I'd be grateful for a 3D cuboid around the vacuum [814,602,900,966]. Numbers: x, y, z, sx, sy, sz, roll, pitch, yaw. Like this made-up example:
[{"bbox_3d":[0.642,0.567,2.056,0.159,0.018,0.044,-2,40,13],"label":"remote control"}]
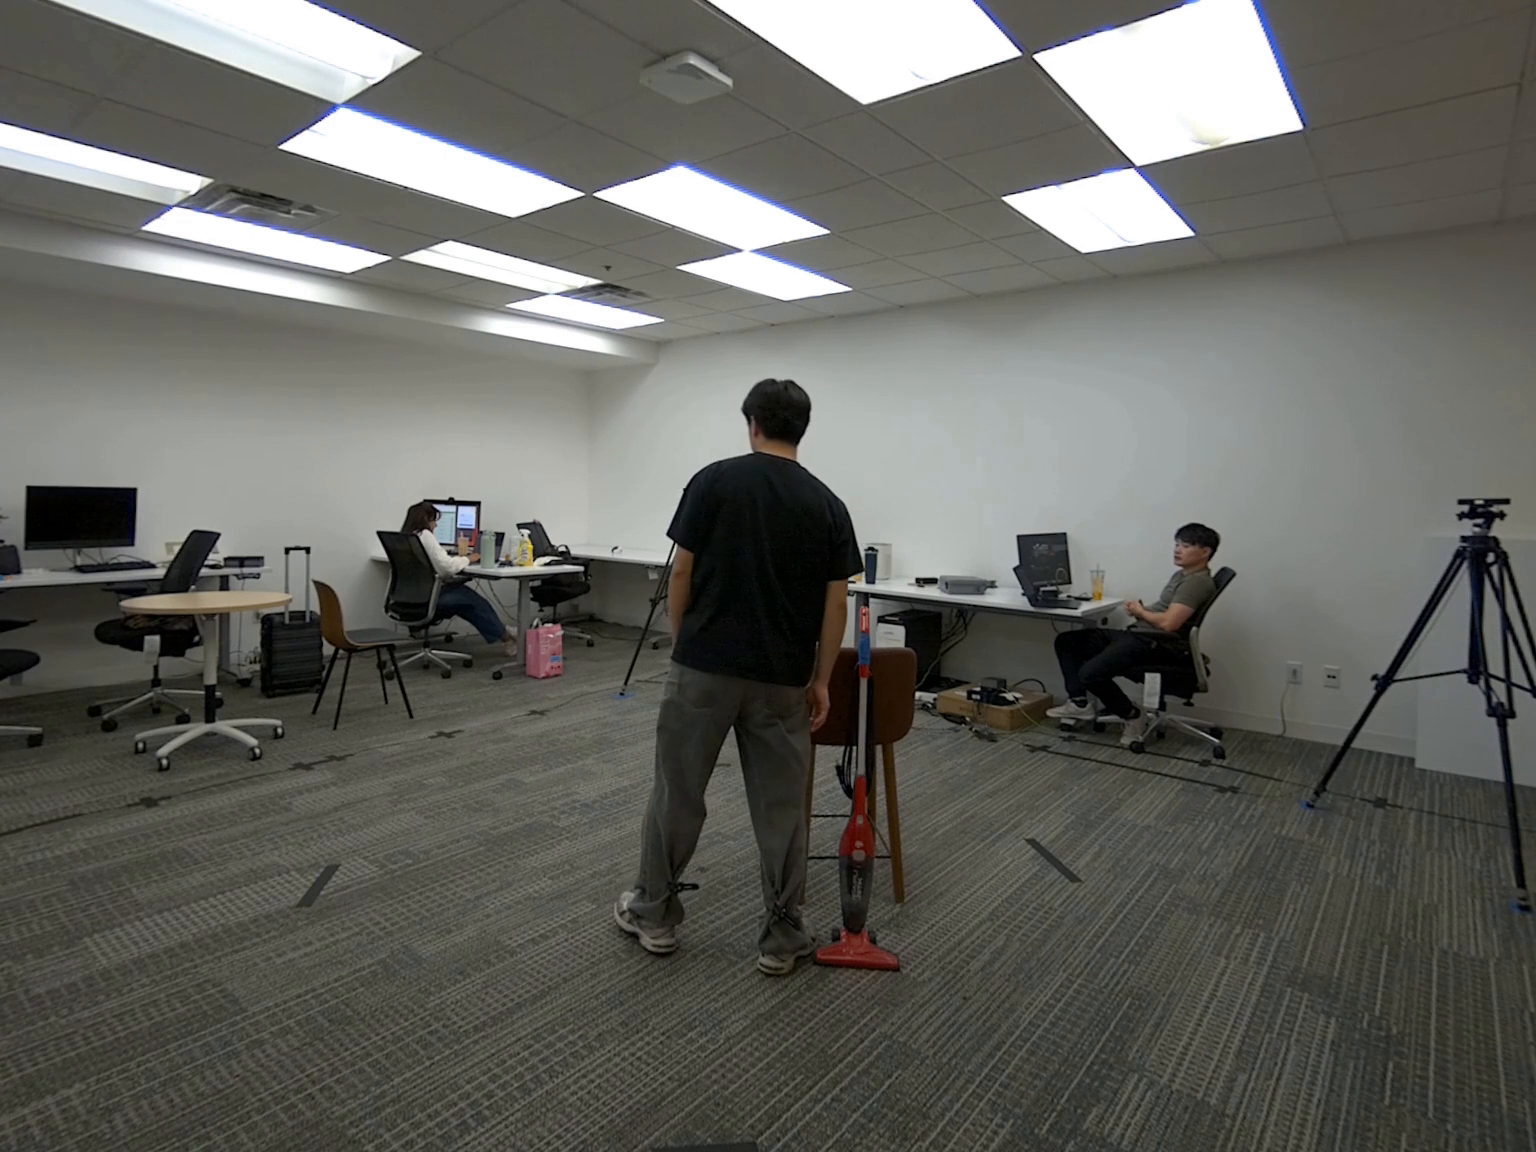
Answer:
[{"bbox_3d":[0.285,0.621,2.688,0.252,1.064,0.142,3,-15,-3],"label":"vacuum"}]
